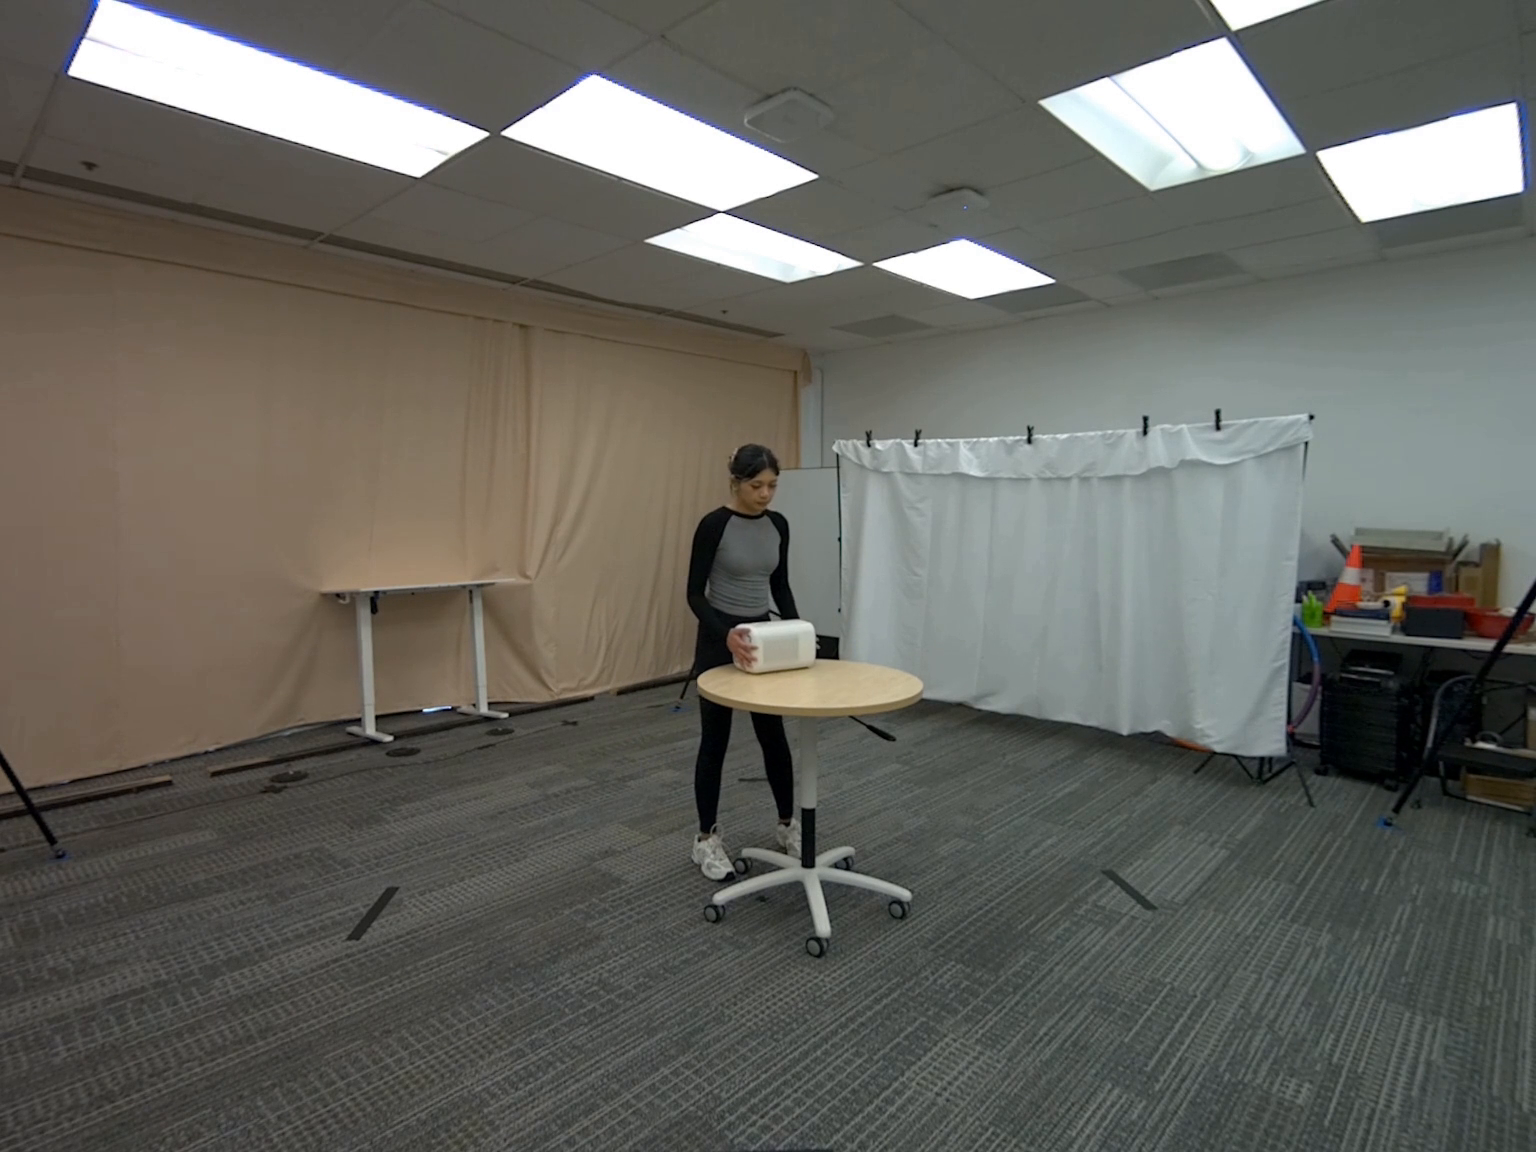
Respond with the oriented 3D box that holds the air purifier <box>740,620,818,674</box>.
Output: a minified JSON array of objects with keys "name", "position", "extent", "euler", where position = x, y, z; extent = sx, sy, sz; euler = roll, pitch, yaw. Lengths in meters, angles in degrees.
[{"name":"air purifier","position":[0.026,0.253,3.071],"extent":[0.258,0.171,0.176],"euler":[-3,5,-32]}]
